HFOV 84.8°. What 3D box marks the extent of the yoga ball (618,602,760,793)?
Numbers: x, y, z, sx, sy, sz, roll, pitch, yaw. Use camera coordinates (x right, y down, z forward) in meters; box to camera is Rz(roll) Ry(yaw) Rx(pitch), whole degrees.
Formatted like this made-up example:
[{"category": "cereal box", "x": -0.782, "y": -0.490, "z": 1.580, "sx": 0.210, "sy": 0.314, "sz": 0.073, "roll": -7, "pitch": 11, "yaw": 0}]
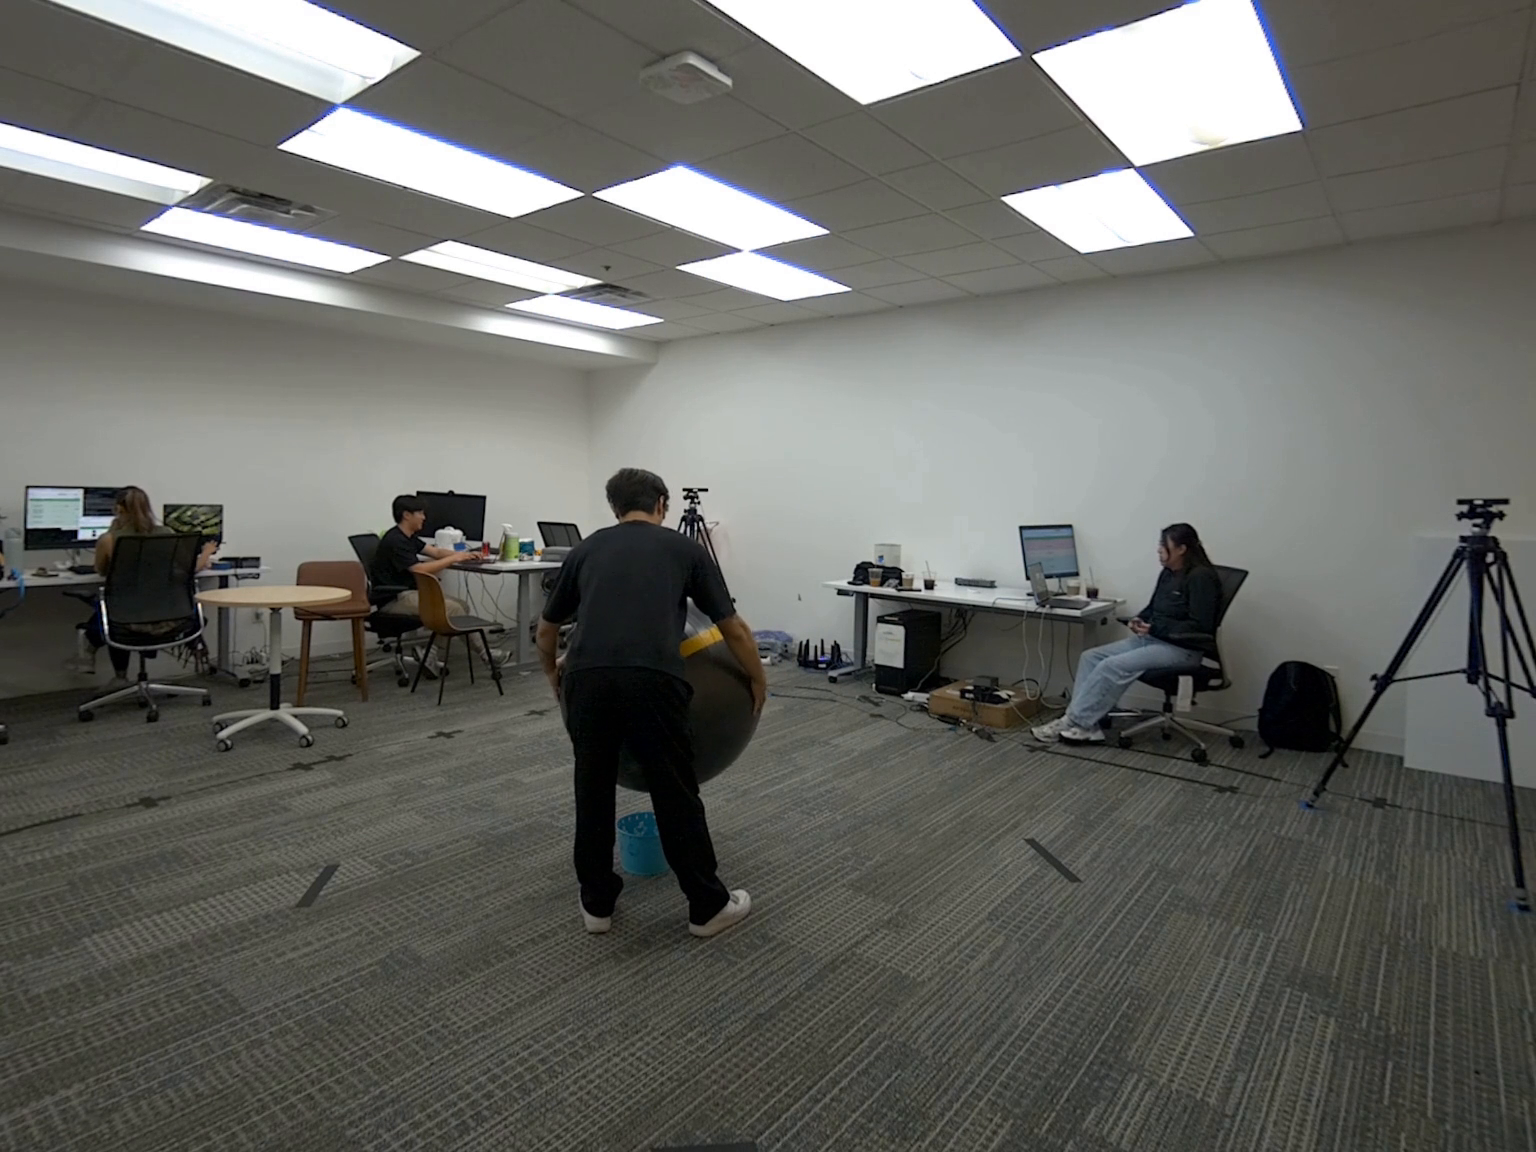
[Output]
[{"category": "yoga ball", "x": -0.394, "y": 0.406, "z": 3.159, "sx": 0.757, "sy": 0.756, "sz": 0.761, "roll": 1, "pitch": 4, "yaw": -2}]
